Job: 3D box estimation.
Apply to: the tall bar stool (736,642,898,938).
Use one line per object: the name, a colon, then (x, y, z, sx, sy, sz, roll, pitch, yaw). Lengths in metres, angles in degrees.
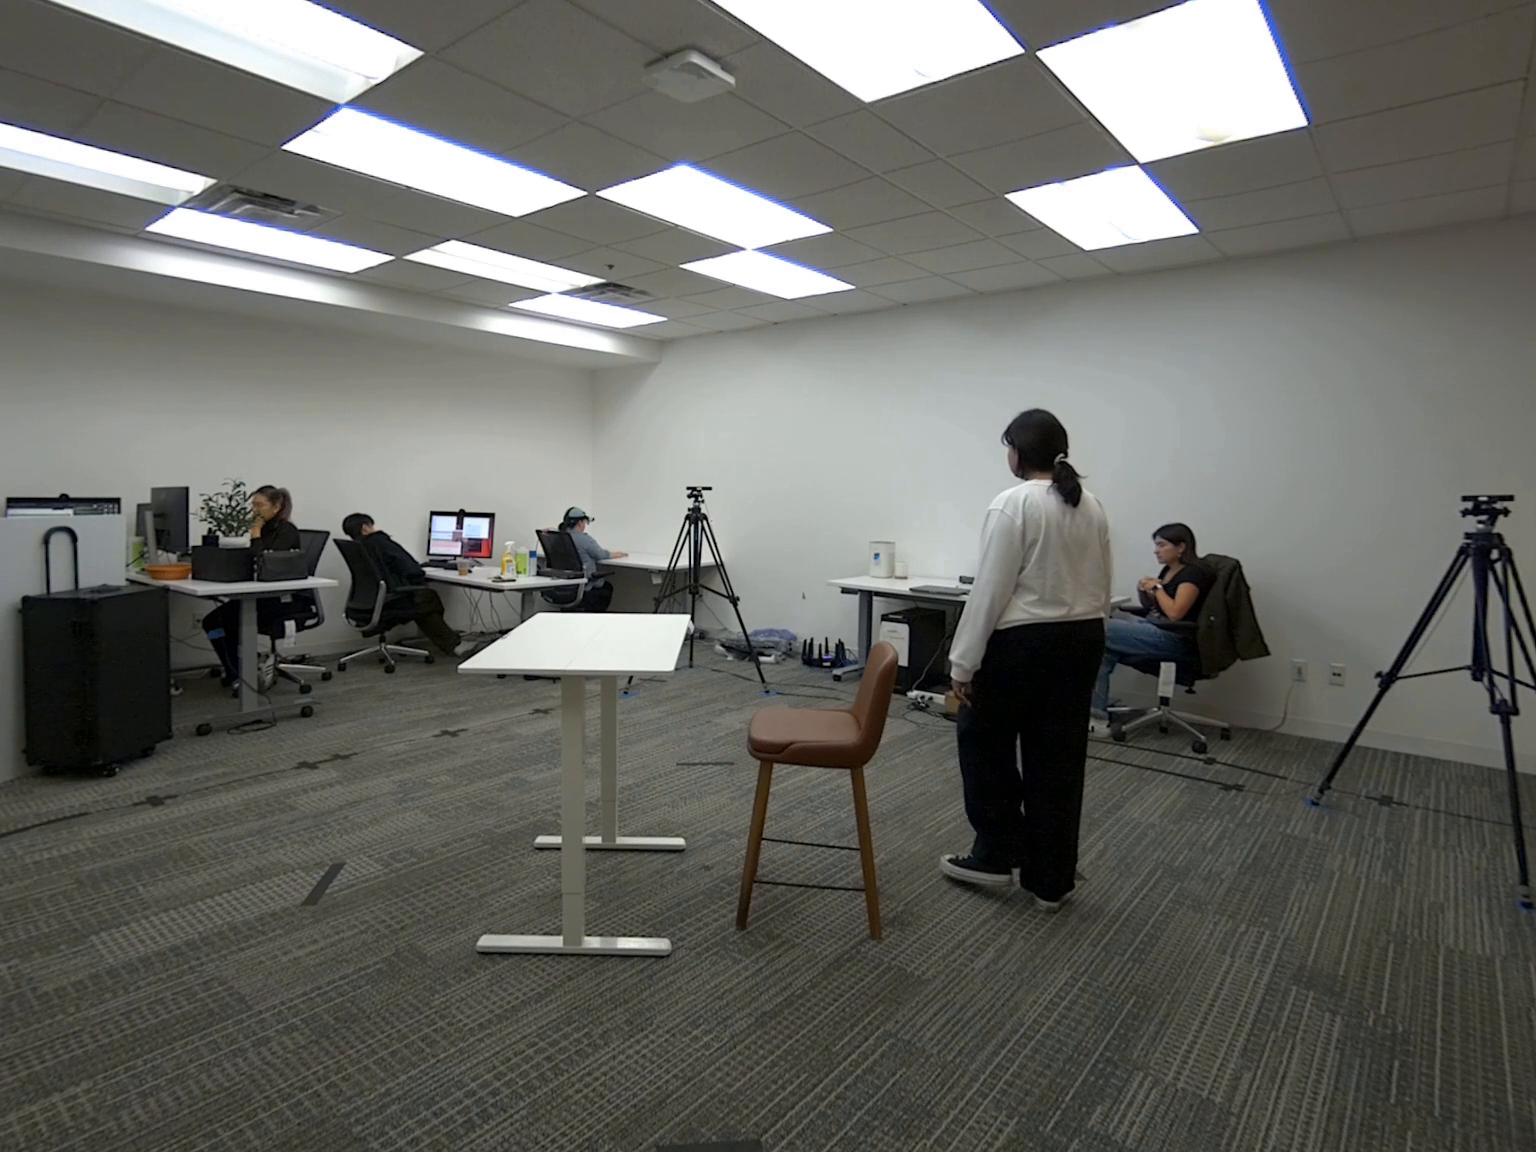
tall bar stool: (0.160, 0.664, 2.829, 0.472, 0.887, 0.454, 4, 3, 7)
